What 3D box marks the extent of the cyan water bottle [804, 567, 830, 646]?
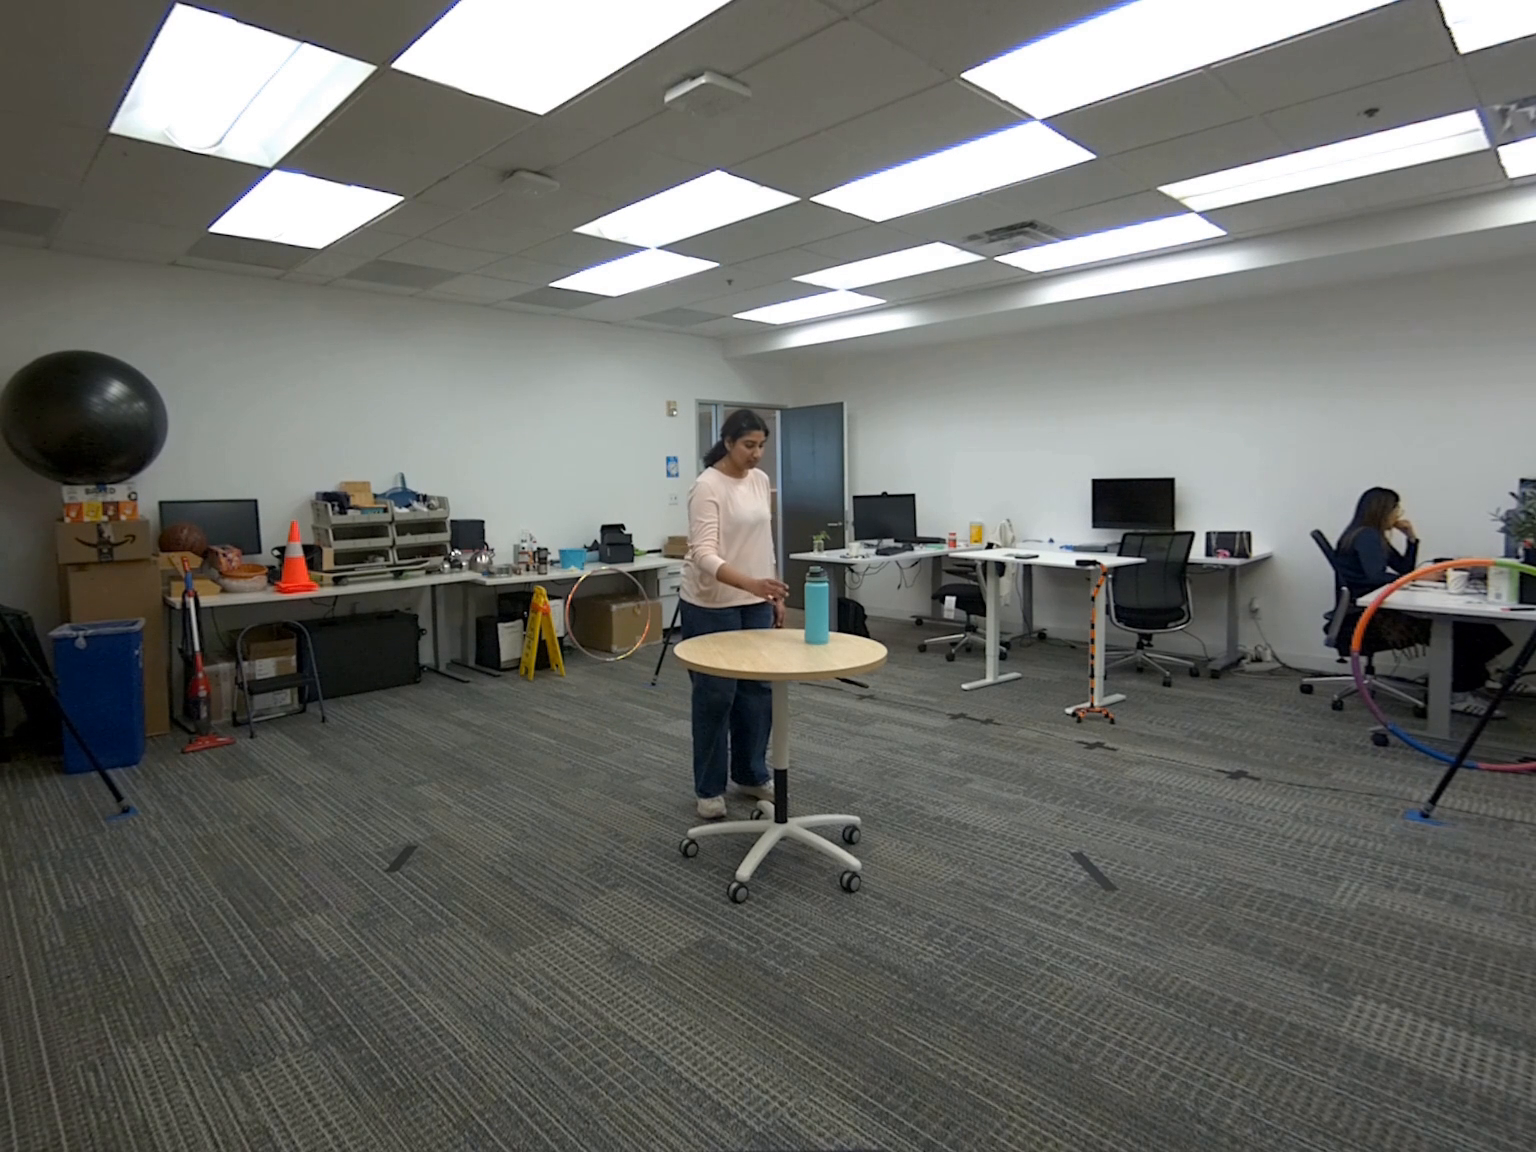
[{"bbox_3d":[0.184,0.109,3.183,0.092,0.282,0.092,-3,3,-1],"label":"cyan water bottle"}]
